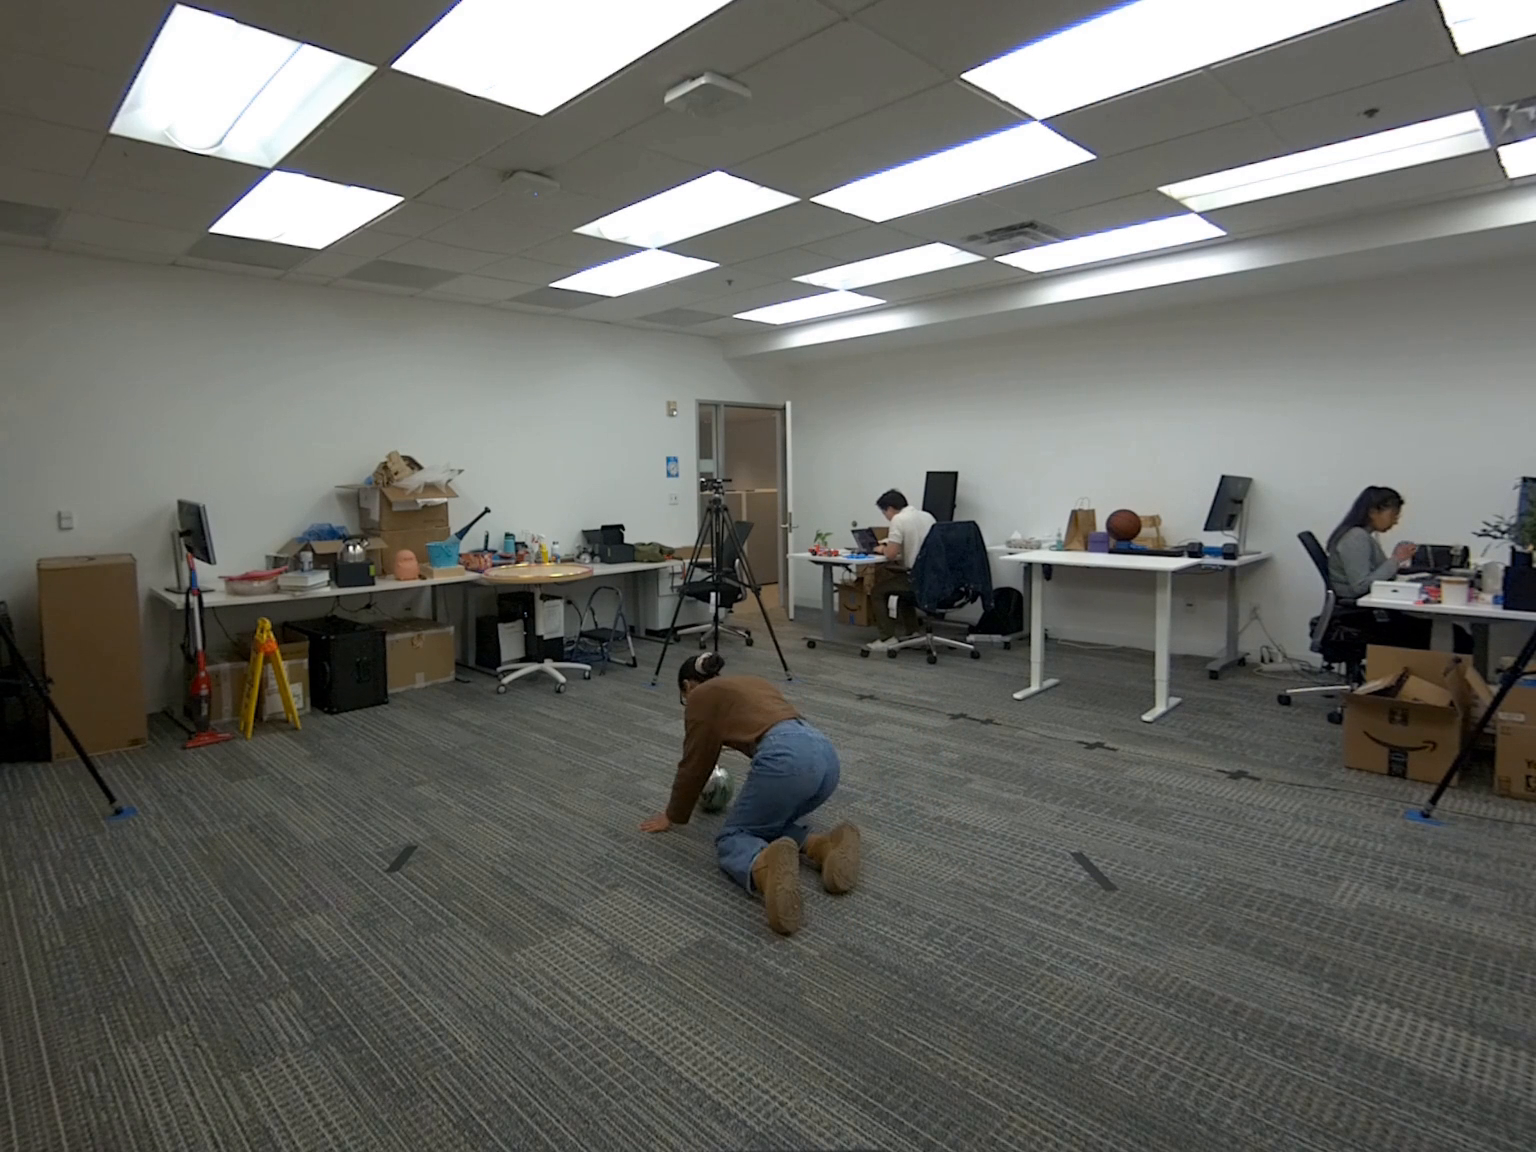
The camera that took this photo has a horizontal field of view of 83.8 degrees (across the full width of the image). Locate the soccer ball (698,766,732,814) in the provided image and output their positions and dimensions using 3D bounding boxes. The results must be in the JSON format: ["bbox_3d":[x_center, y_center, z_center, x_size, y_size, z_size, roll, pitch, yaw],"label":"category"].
[{"bbox_3d":[-0.229,0.901,3.636,0.187,0.187,0.188,-1,5,-2],"label":"soccer ball"}]
